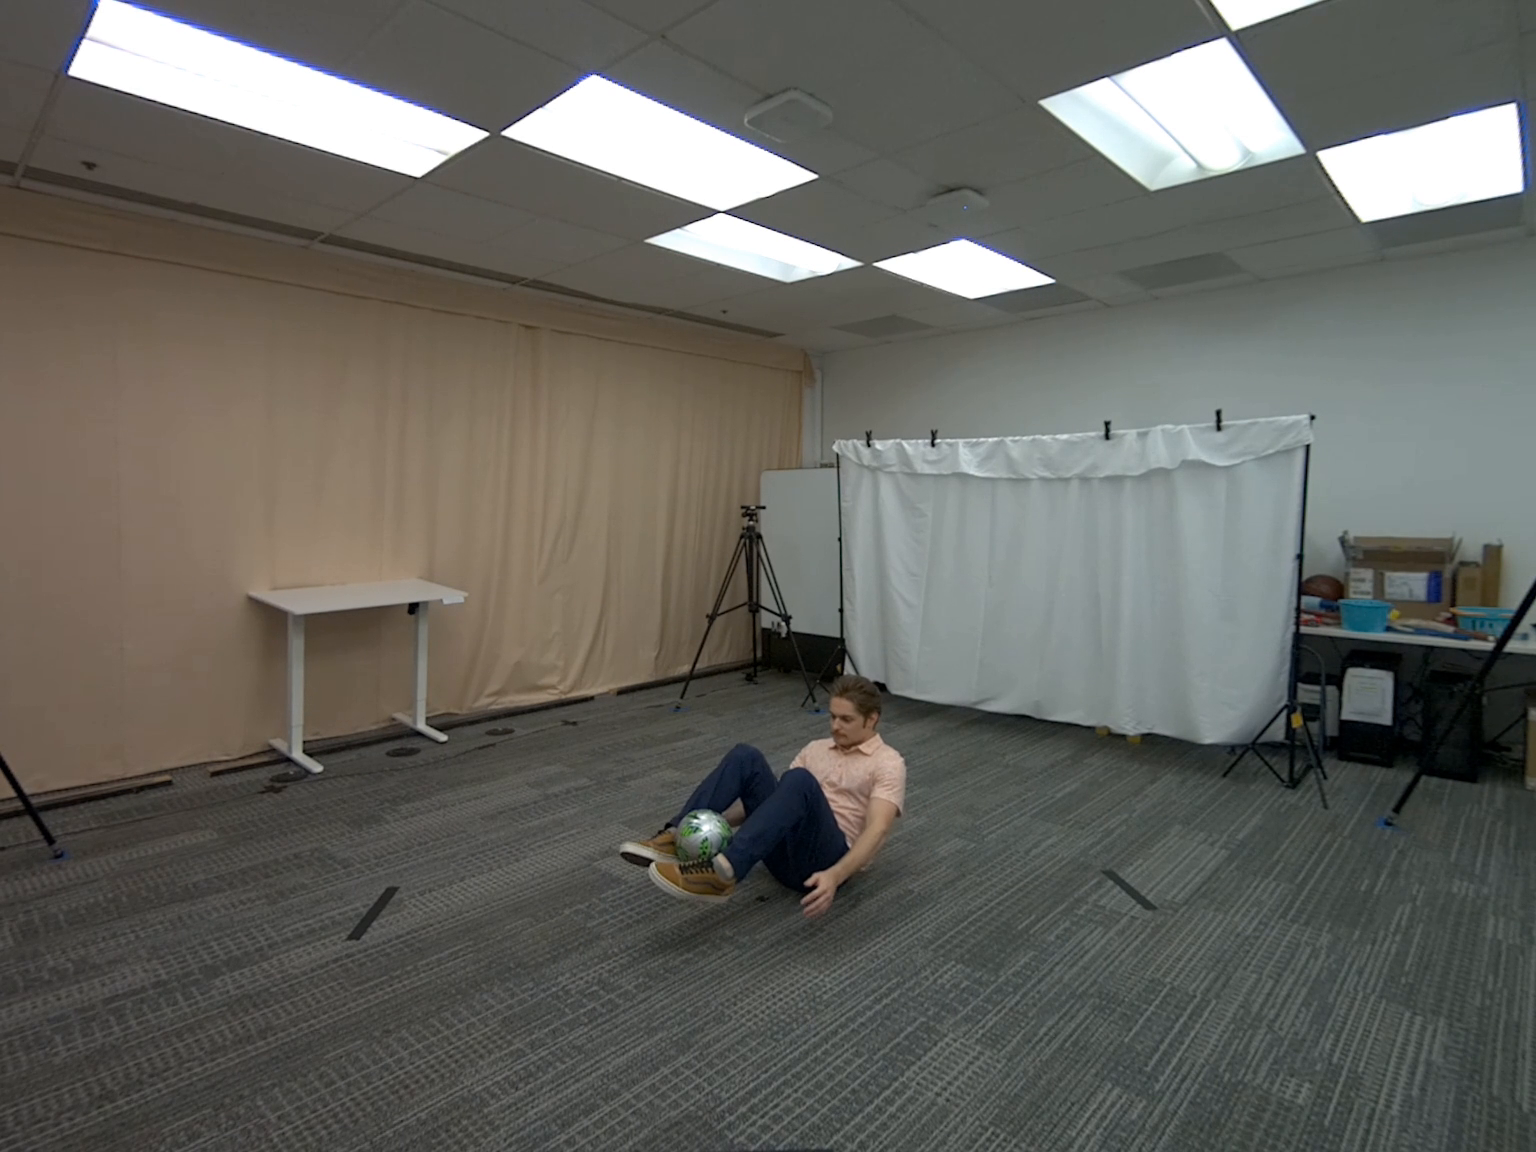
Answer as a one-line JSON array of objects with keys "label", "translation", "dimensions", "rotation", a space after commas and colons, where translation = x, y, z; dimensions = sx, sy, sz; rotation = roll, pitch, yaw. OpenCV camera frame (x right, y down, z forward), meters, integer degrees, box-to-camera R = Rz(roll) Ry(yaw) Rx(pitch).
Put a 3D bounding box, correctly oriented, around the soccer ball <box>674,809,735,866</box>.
[{"label": "soccer ball", "translation": [-0.215, 0.855, 2.726], "dimensions": [0.187, 0.187, 0.188], "rotation": [0, 4, -2]}]
